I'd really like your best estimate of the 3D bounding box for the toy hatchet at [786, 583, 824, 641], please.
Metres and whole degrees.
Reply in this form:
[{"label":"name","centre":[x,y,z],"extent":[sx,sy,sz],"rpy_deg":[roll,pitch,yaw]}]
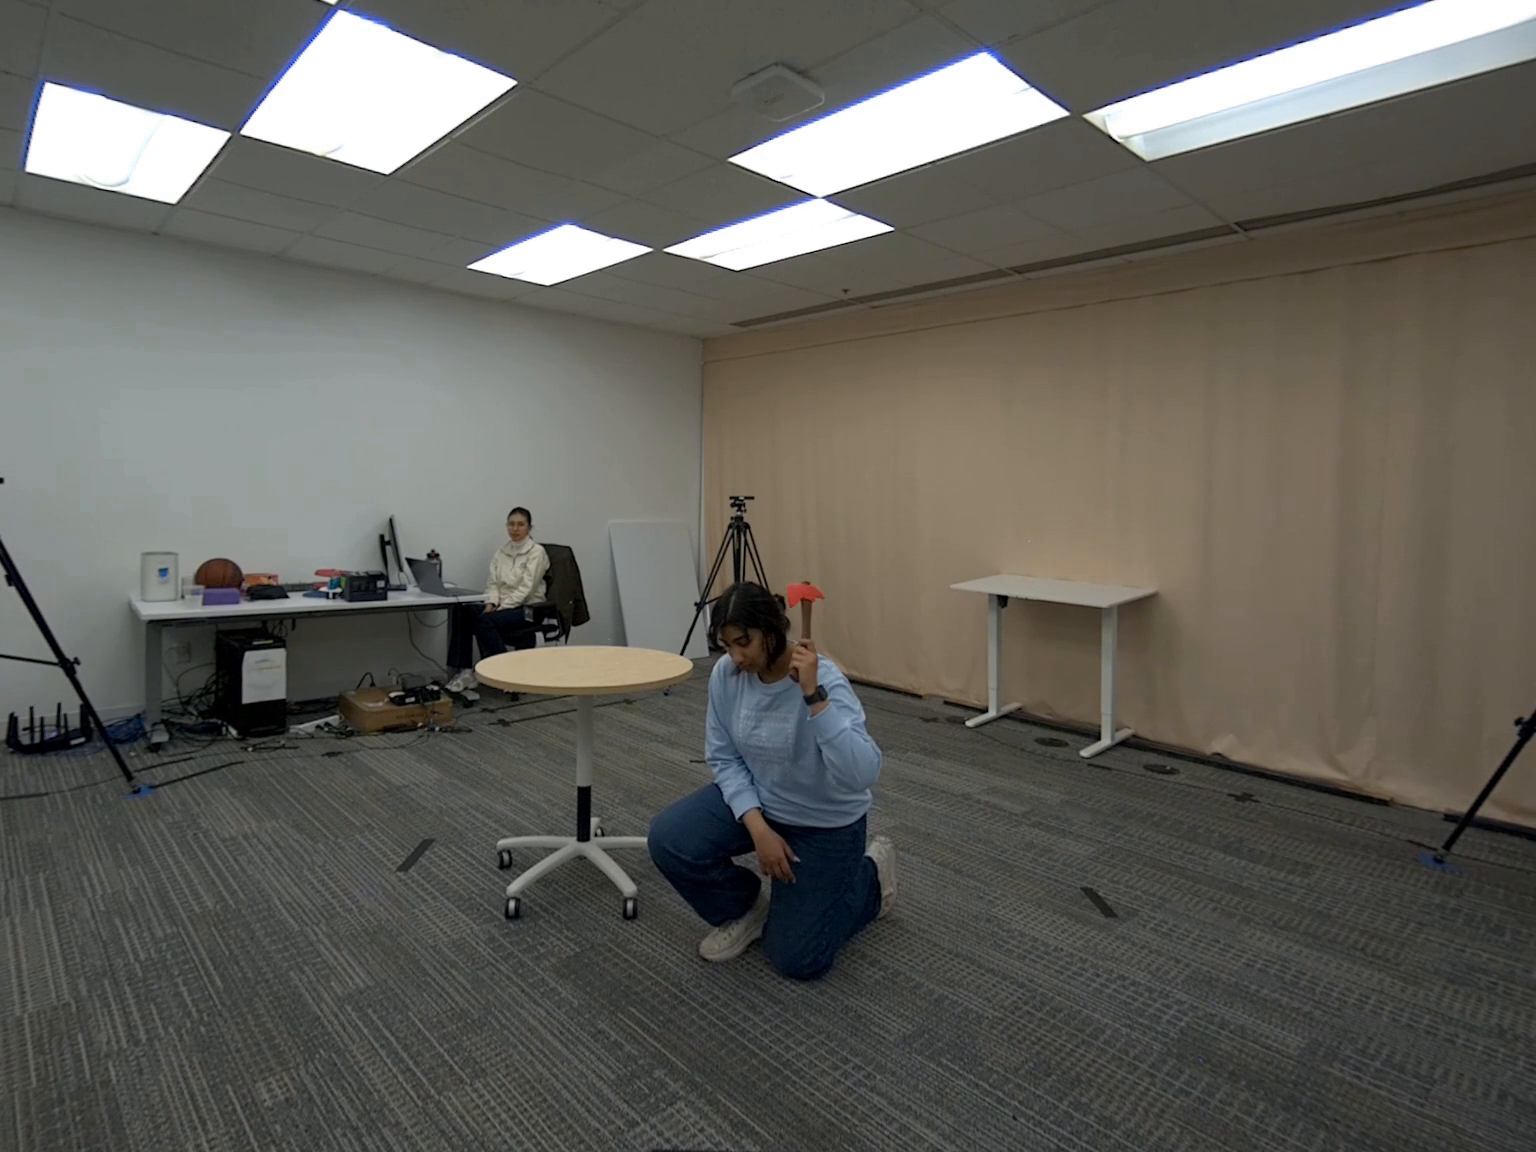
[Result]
[{"label":"toy hatchet","centre":[0.051,0.147,2.194],"extent":[0.128,0.273,0.030],"rpy_deg":[33,-33,-26]}]
